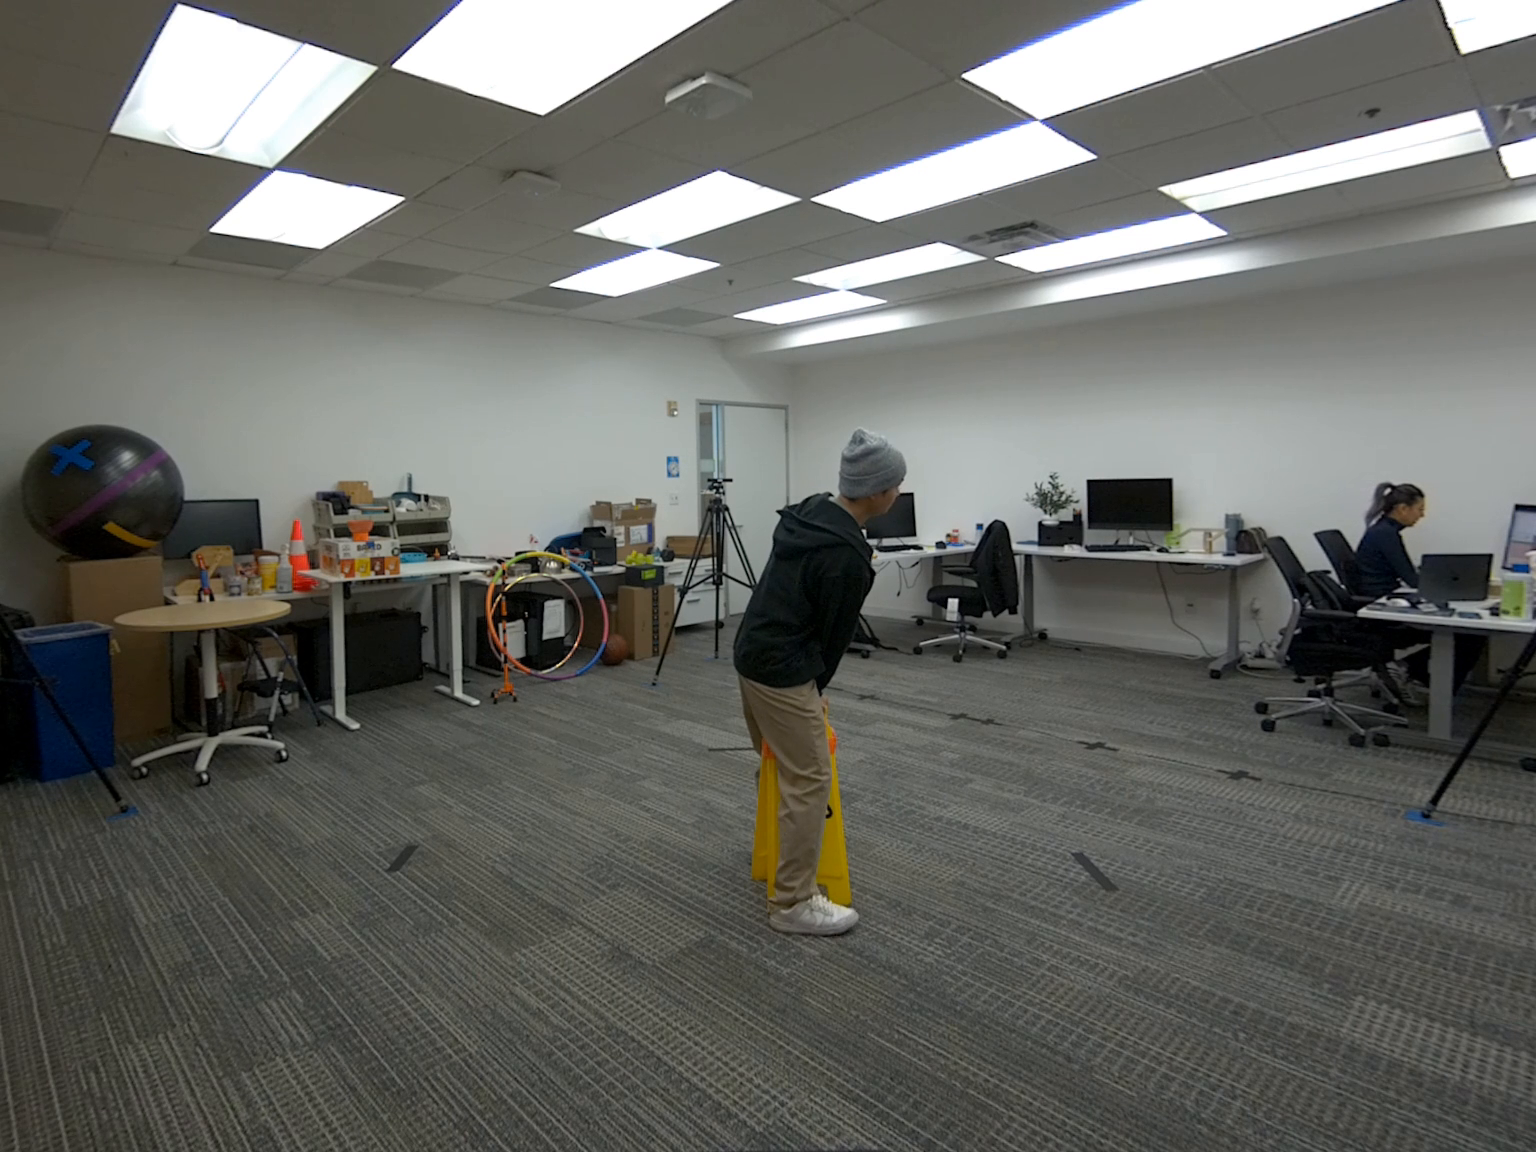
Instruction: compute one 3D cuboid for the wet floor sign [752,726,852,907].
[{"bbox_3d":[0.111,0.748,2.871,0.279,0.643,0.294,-2,5,-12],"label":"wet floor sign"}]
